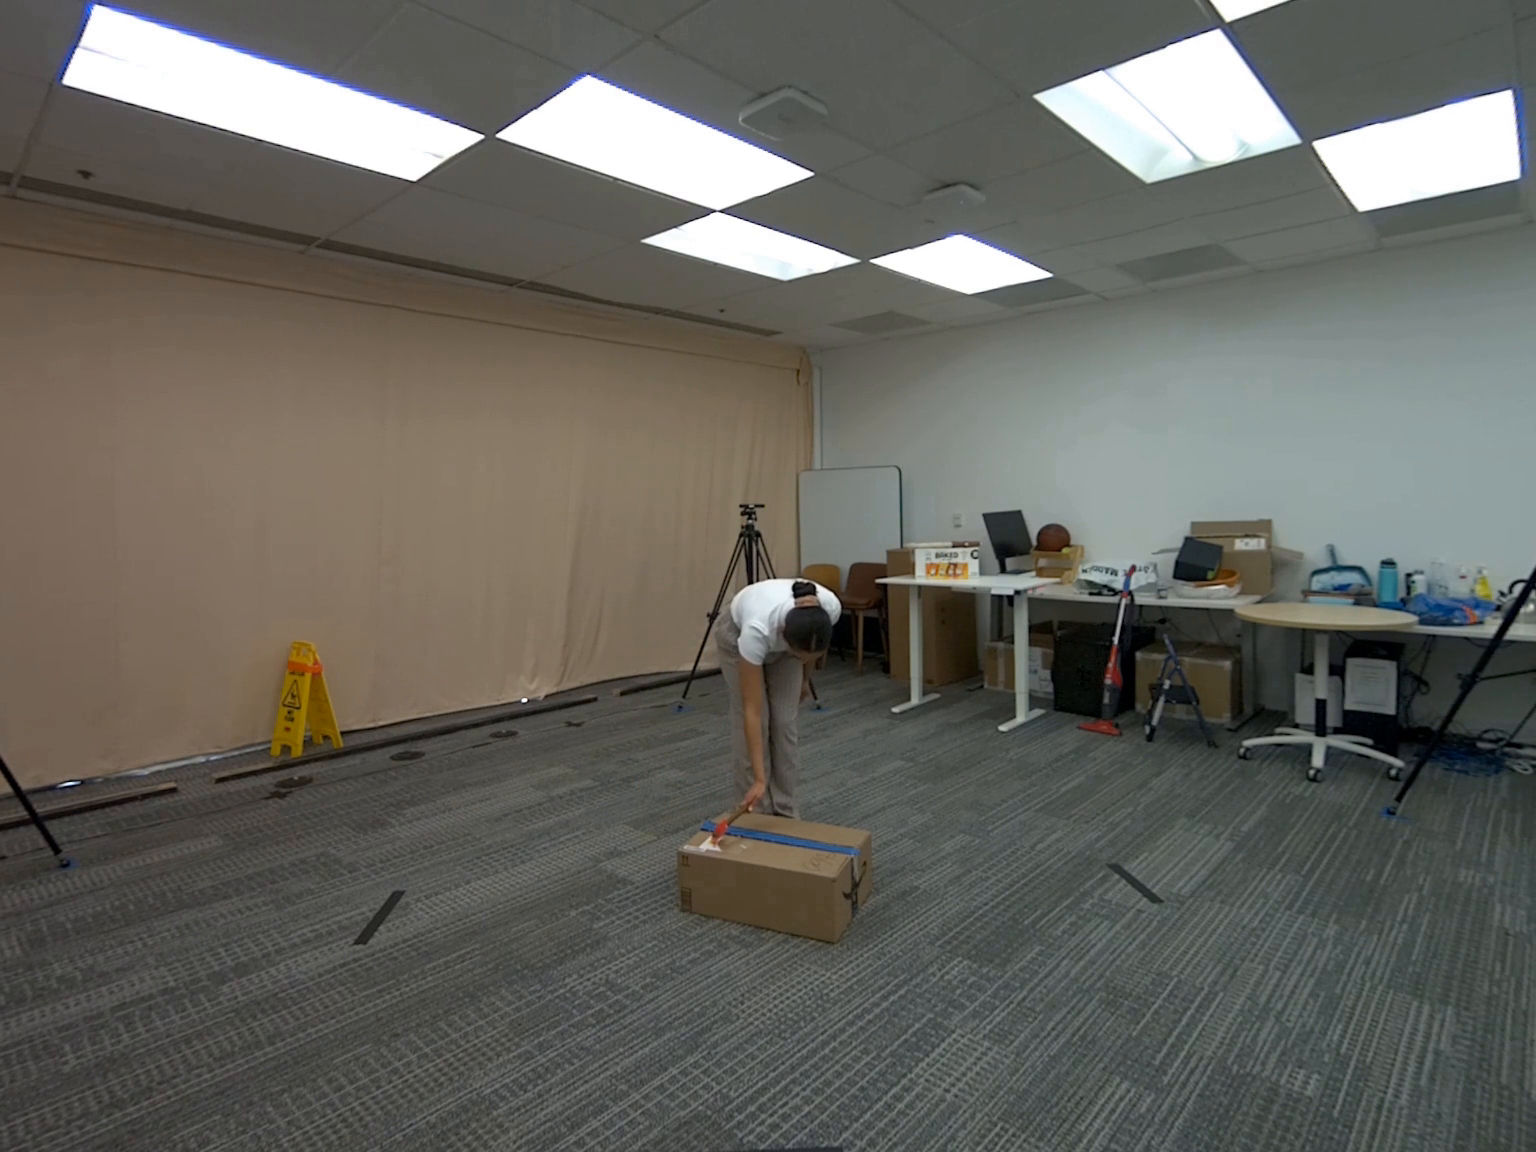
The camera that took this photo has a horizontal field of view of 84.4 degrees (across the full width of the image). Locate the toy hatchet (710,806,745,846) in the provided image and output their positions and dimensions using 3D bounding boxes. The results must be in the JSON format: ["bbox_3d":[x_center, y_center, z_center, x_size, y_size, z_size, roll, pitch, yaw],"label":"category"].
[{"bbox_3d":[-0.120,0.870,2.992,0.030,0.131,0.263,41,21,21],"label":"toy hatchet"}]
